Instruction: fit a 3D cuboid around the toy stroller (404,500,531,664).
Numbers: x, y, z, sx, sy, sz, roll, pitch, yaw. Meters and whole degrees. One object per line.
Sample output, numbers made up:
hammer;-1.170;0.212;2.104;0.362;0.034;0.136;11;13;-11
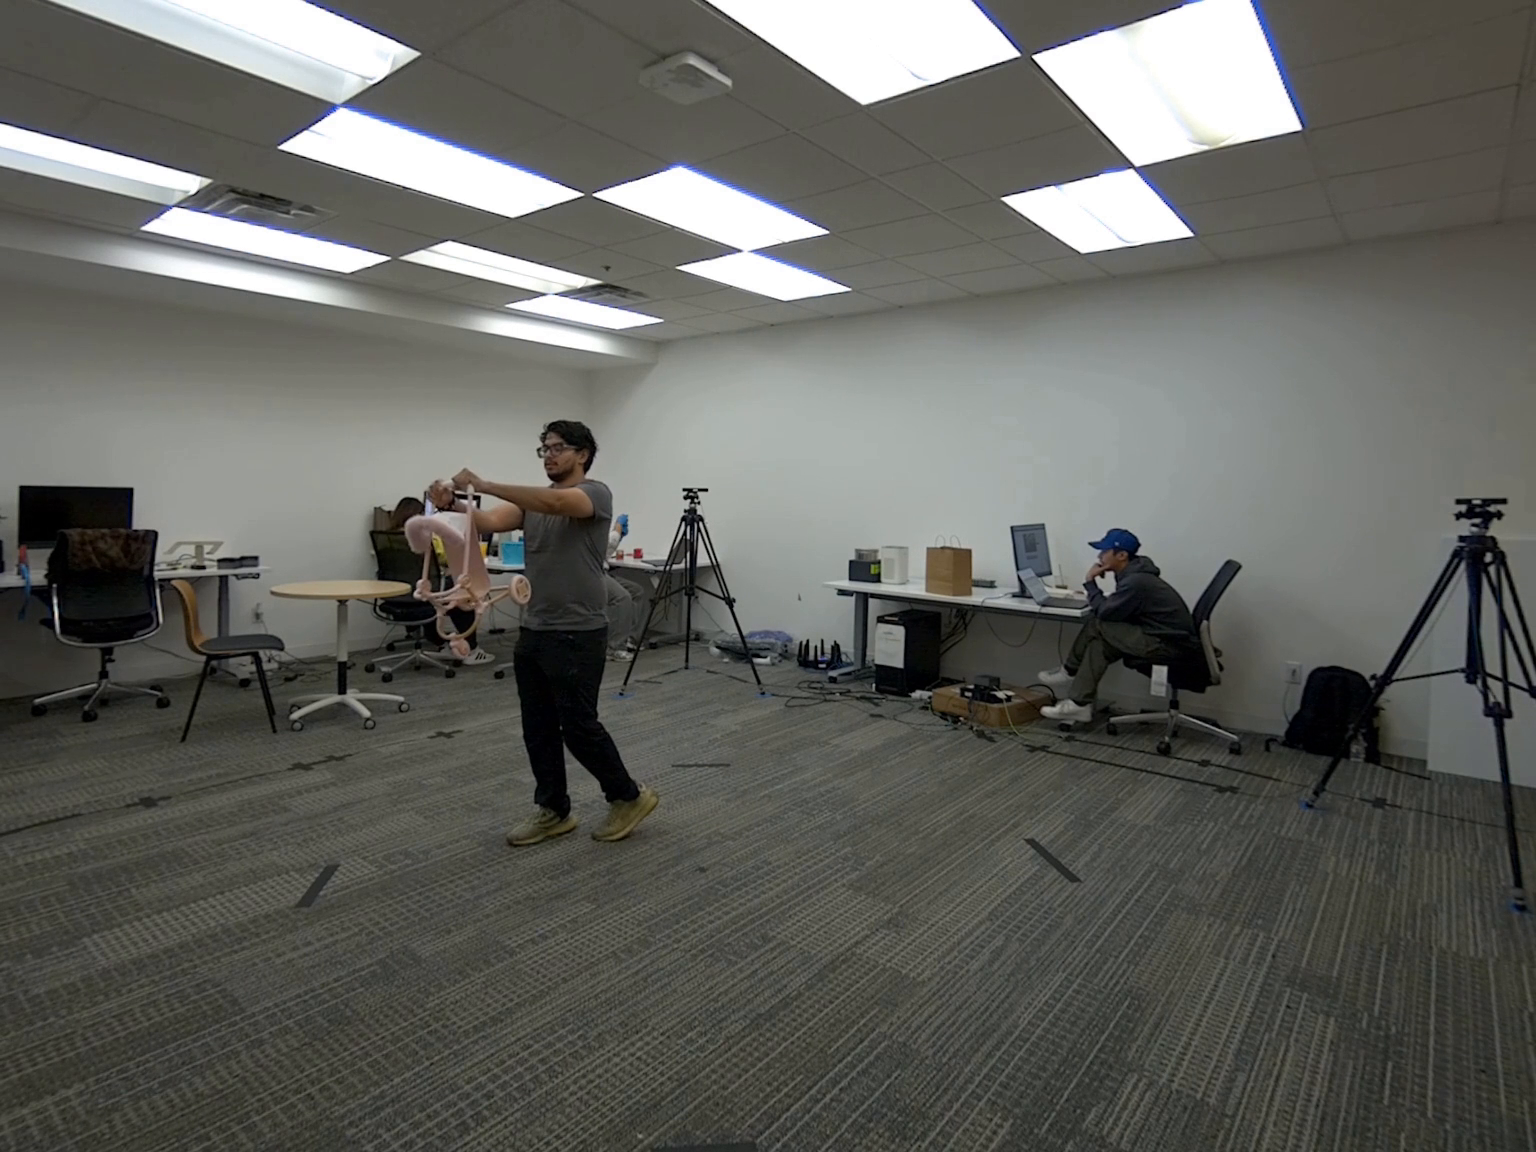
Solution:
toy stroller;-1.073;-0.014;2.915;0.289;0.521;0.341;-3;28;30
